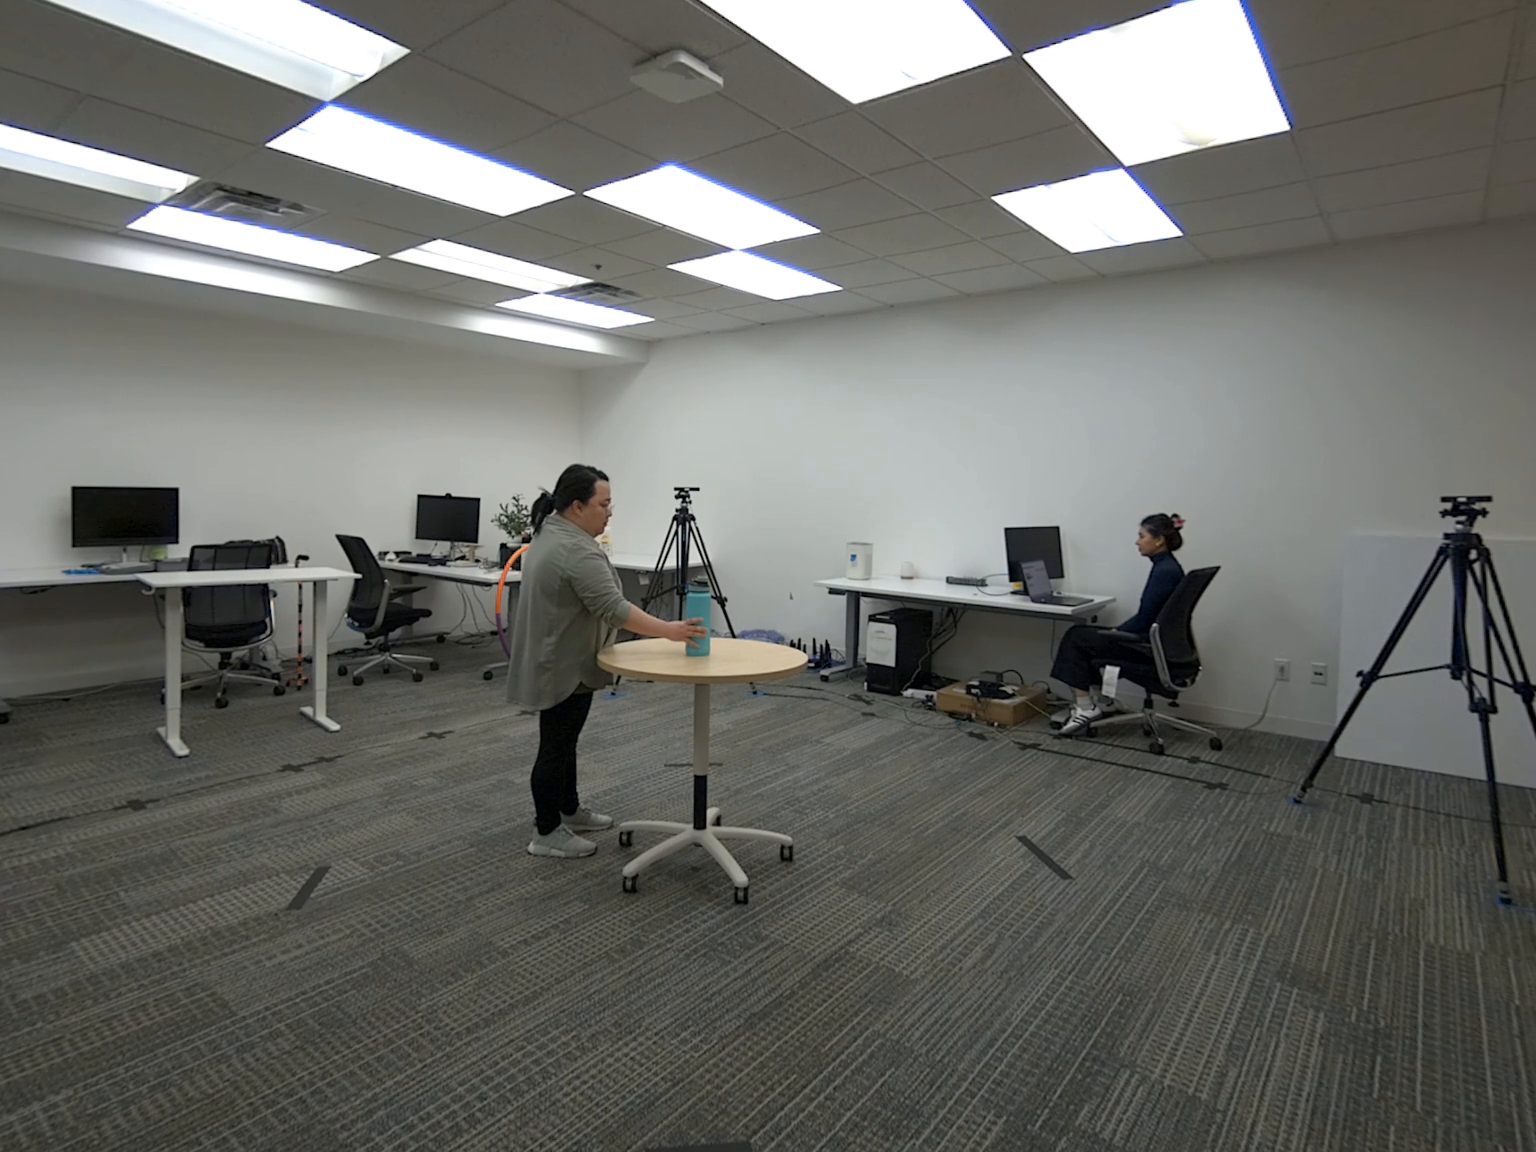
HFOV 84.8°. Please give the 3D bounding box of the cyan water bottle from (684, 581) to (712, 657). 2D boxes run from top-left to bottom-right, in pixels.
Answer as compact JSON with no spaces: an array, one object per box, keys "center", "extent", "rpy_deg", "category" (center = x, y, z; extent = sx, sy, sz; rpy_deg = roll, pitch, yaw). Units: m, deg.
[{"center":[-0.271,0.146,3.103],"extent":[0.092,0.283,0.092],"rpy_deg":[1,2,-2],"category":"cyan water bottle"}]
